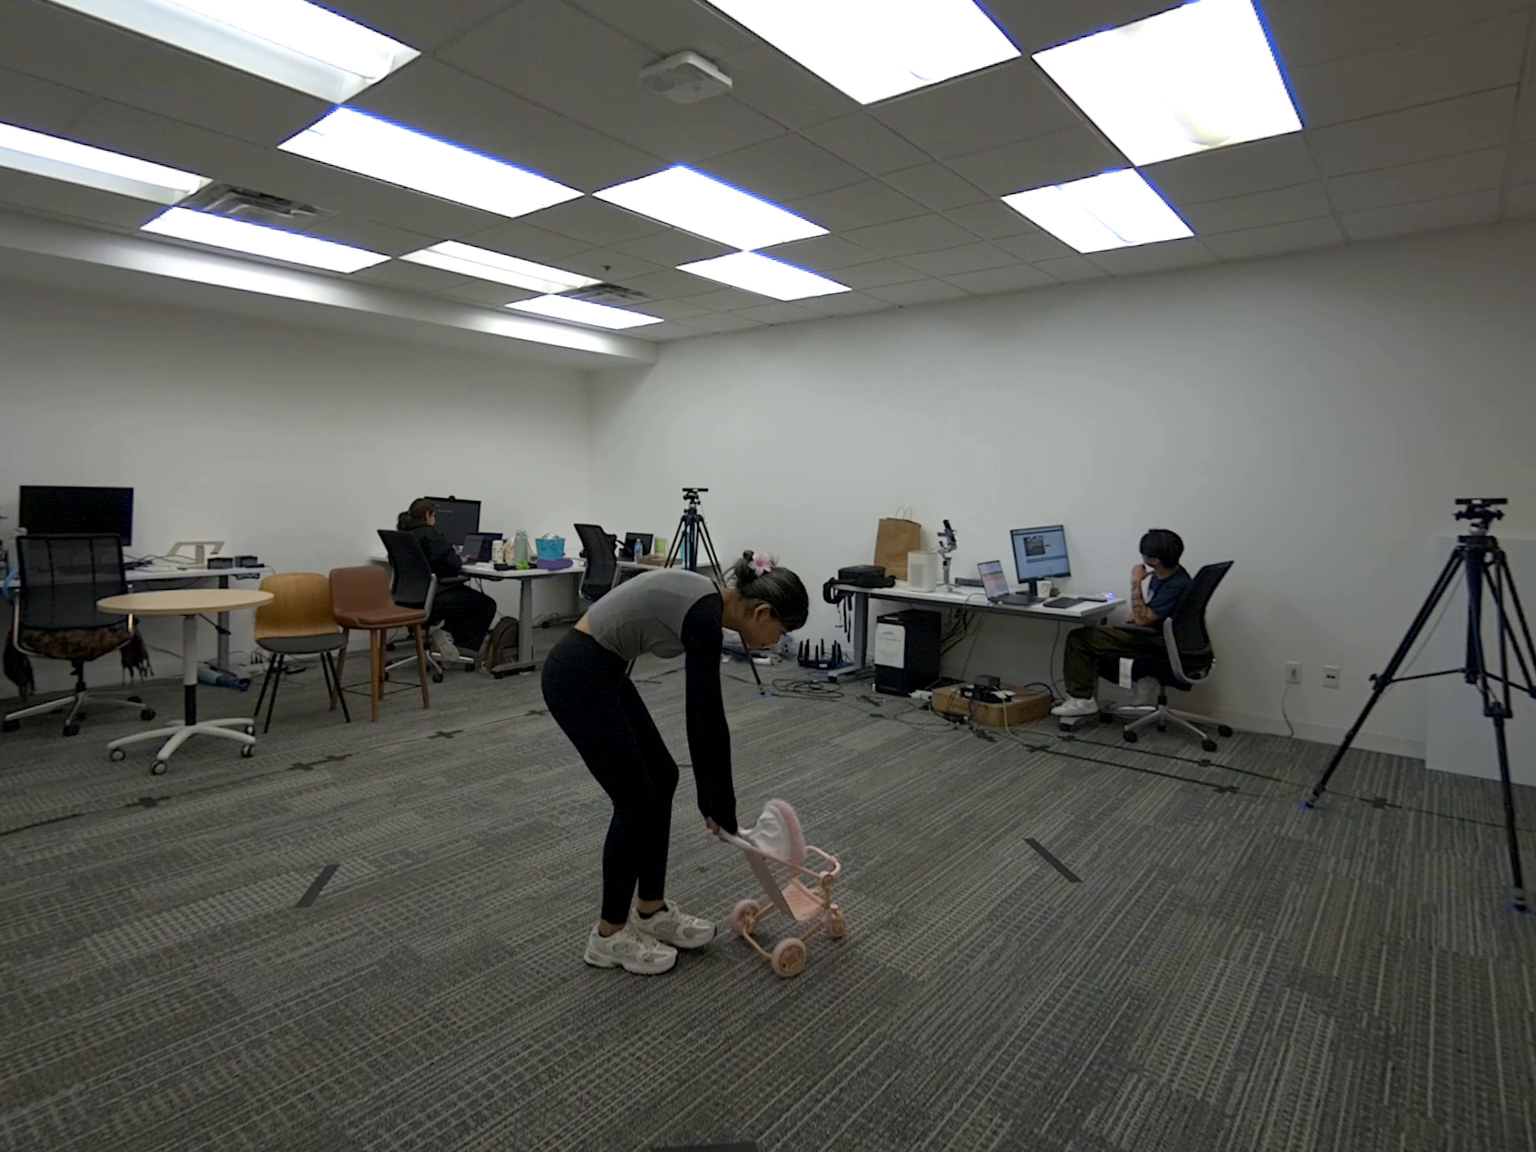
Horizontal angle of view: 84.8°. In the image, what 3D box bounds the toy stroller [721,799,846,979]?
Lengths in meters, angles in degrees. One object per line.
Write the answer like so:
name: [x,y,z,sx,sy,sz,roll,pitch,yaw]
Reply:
toy stroller: [0.047,0.904,2.559,0.336,0.529,0.289,-18,11,-23]
